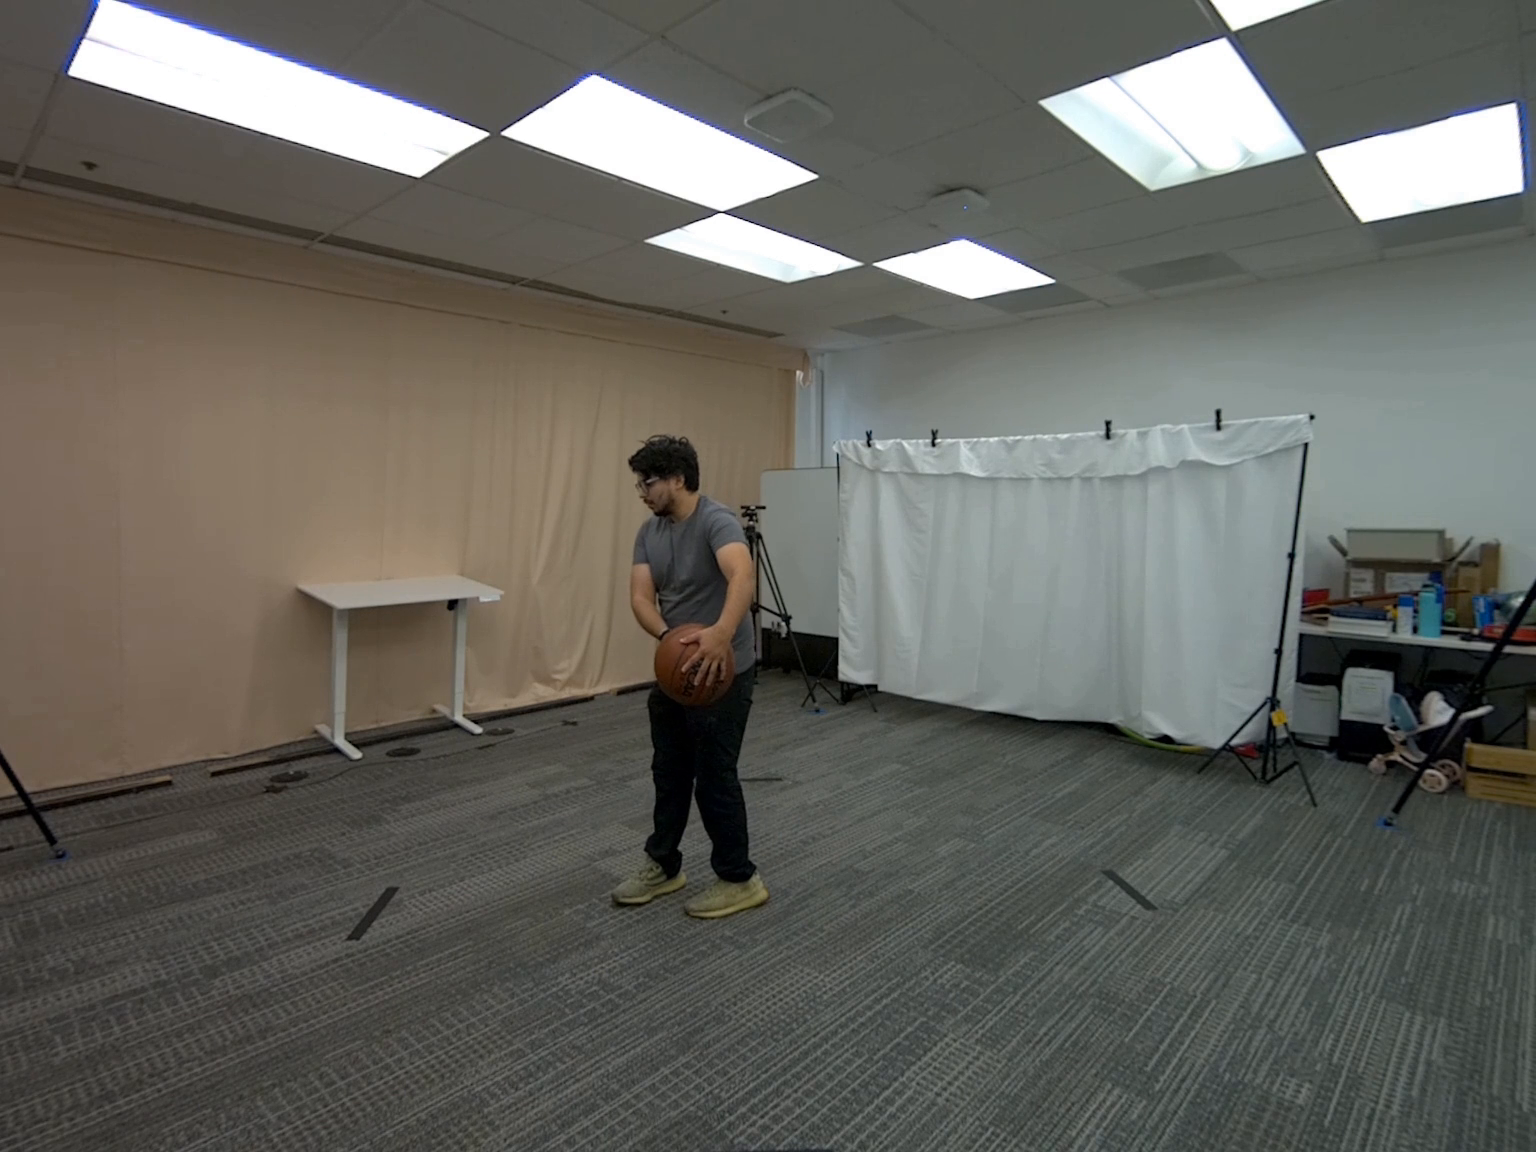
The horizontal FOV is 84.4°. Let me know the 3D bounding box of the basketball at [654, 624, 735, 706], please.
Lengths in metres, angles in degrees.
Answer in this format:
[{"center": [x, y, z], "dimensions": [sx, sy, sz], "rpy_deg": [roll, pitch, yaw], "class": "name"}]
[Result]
[{"center": [-0.217, 0.256, 2.461], "dimensions": [0.236, 0.235, 0.237], "rpy_deg": [0, 4, -2], "class": "basketball"}]
